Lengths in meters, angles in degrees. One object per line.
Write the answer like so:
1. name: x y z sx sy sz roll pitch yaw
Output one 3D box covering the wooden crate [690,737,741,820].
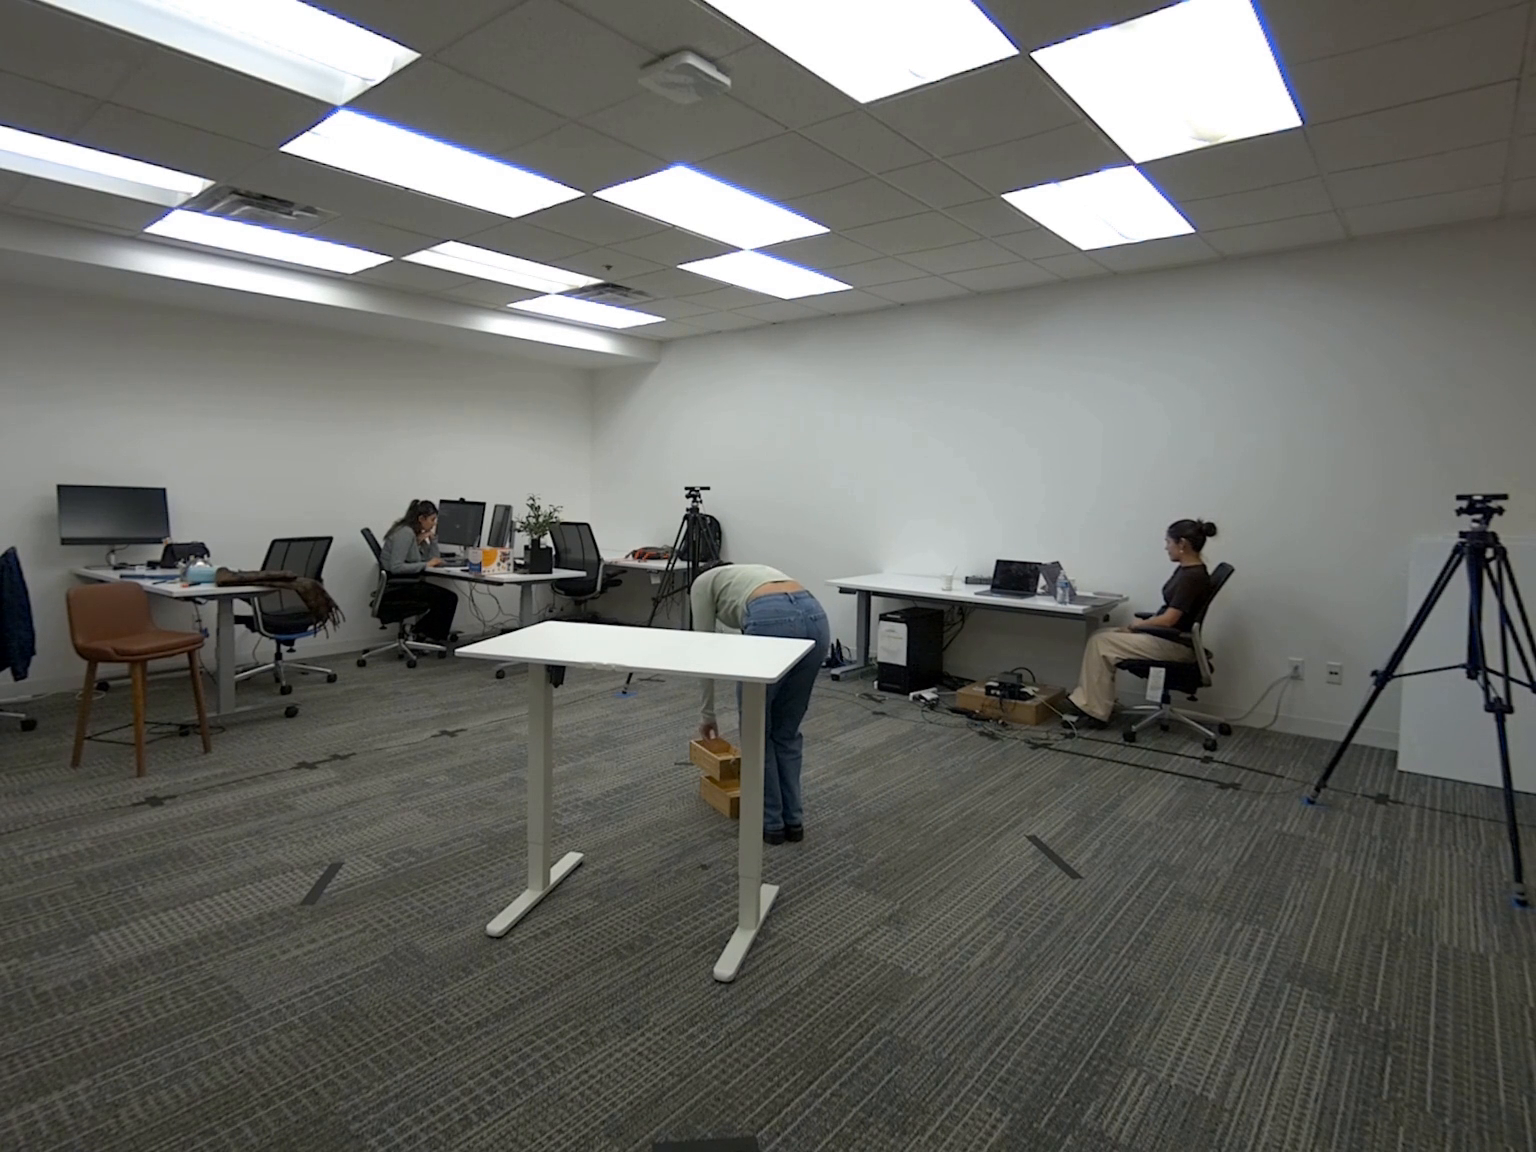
1. wooden crate: -0.154 0.867 3.743 0.294 0.272 0.334 -2 5 -28
